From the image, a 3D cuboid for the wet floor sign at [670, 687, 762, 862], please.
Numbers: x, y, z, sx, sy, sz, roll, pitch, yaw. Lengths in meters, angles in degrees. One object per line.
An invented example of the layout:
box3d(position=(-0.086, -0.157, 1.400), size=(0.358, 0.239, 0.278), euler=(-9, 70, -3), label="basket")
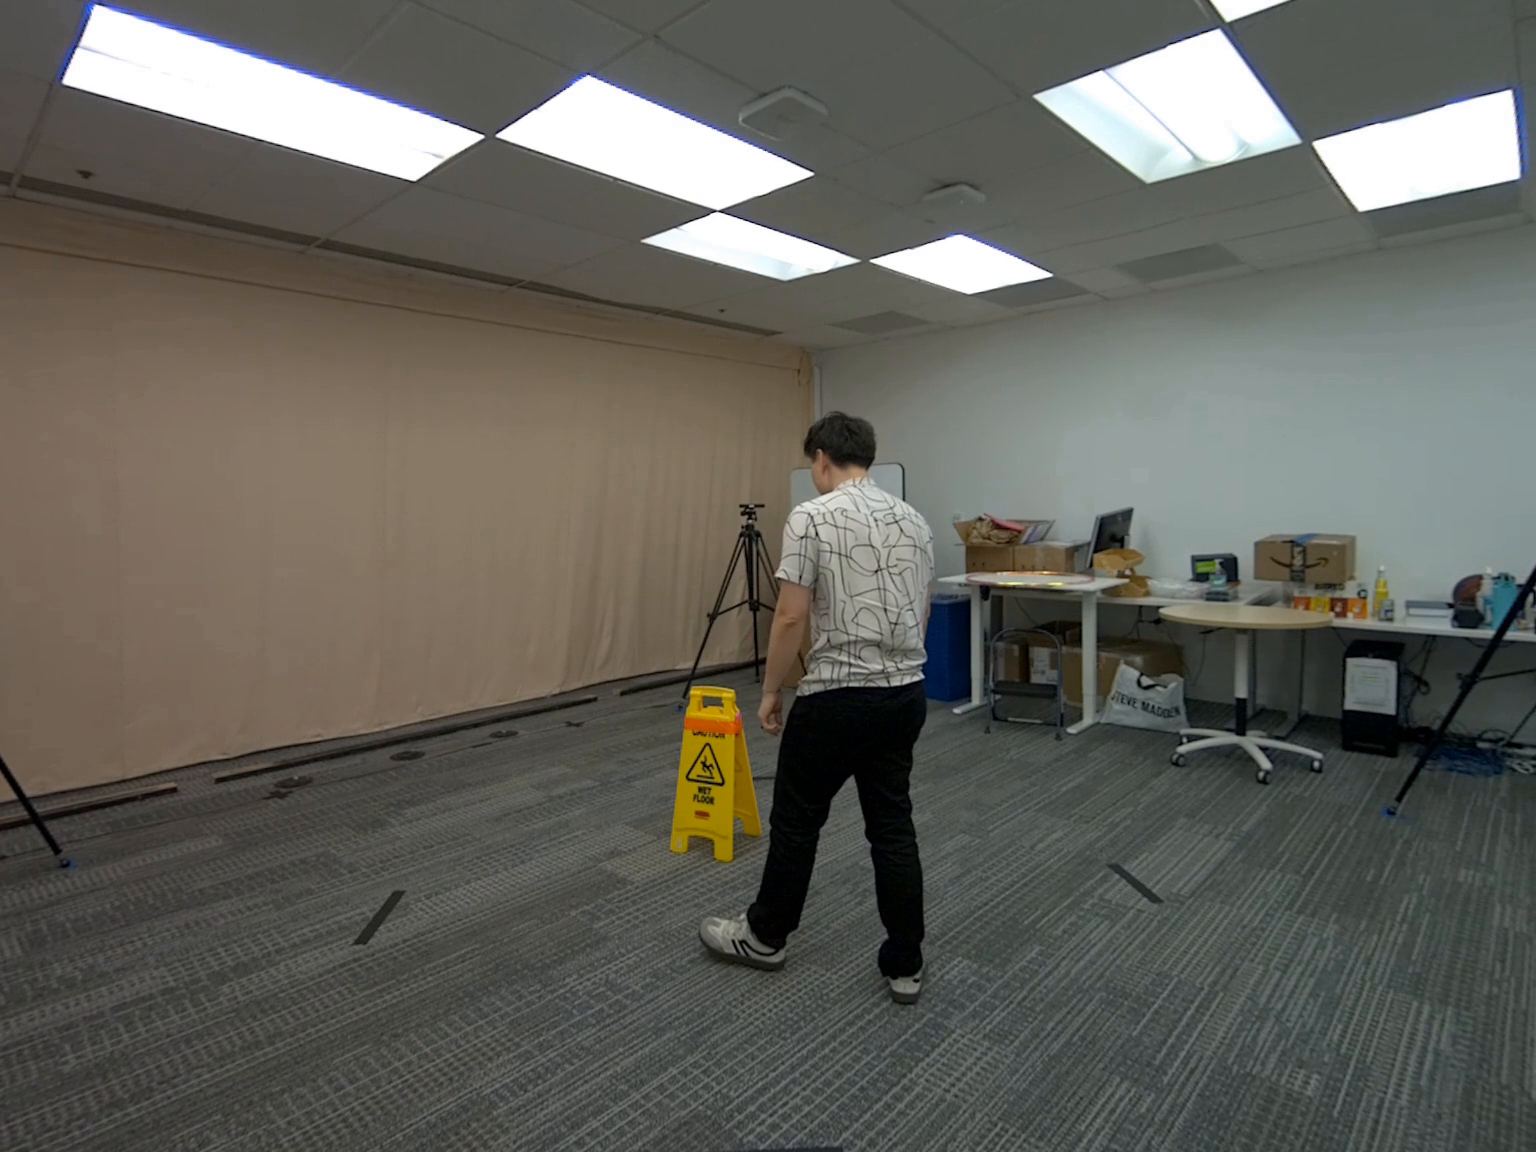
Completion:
box3d(position=(-0.219, 0.779, 3.455), size=(0.289, 0.644, 0.283), euler=(-1, 4, 26), label="wet floor sign")
